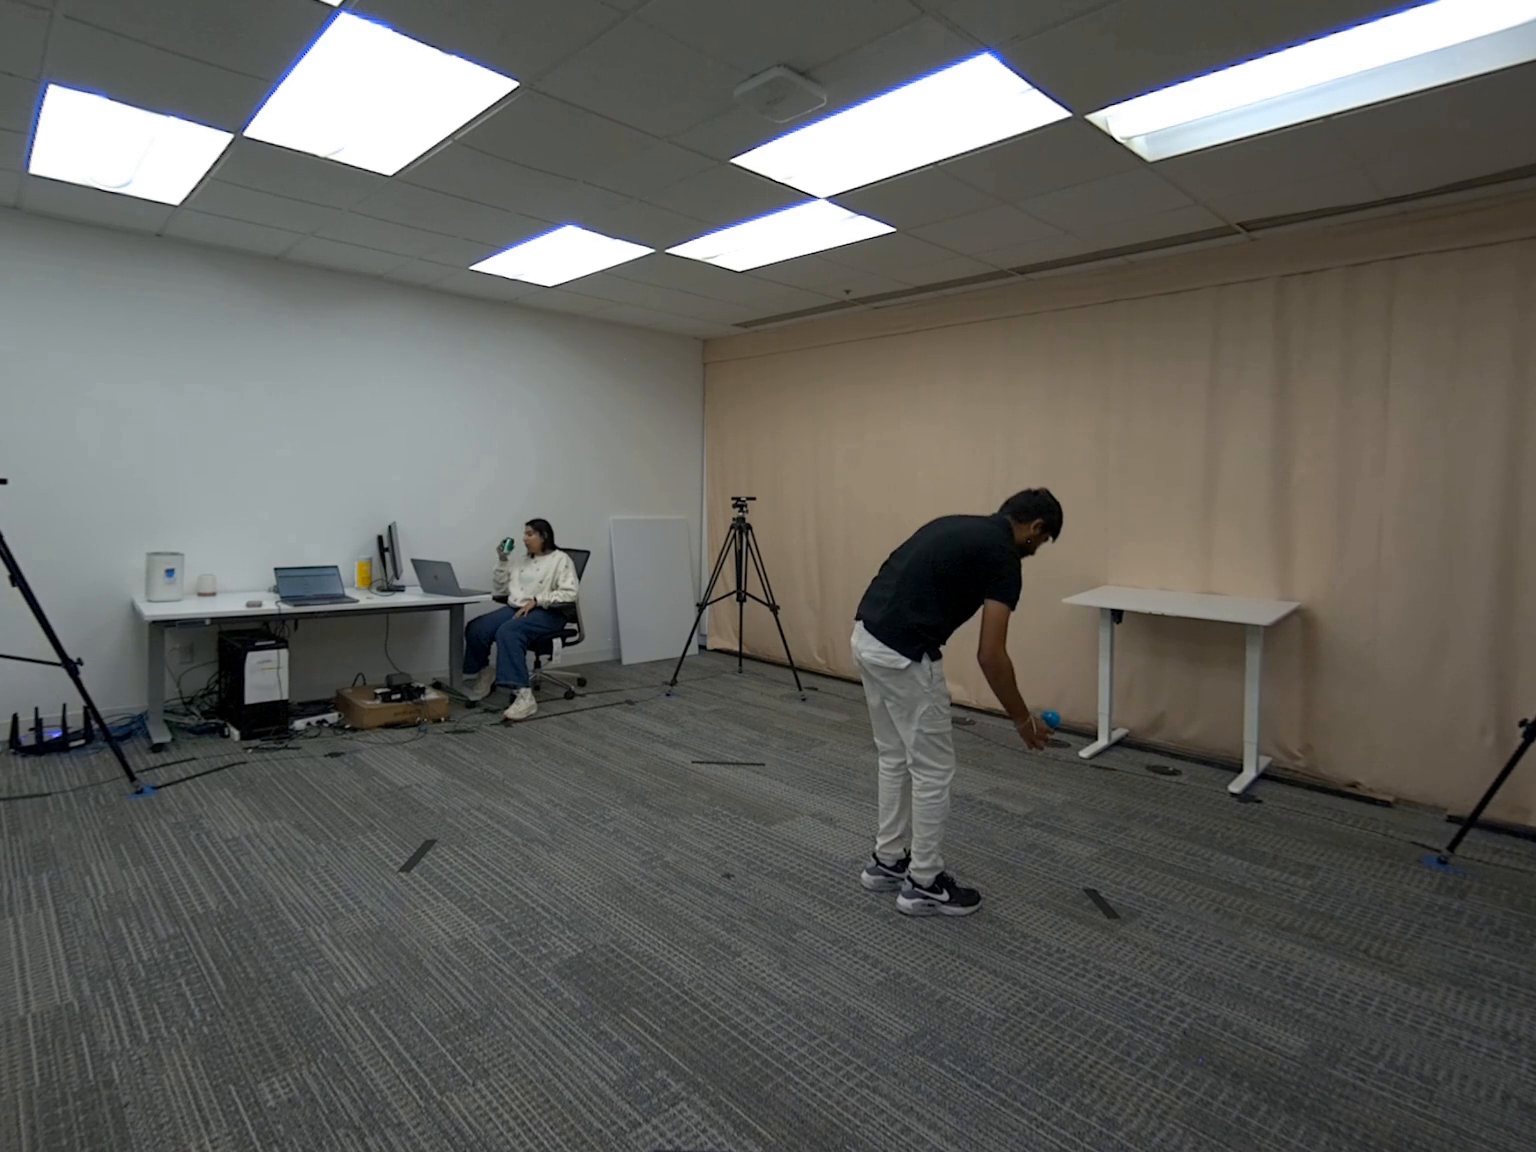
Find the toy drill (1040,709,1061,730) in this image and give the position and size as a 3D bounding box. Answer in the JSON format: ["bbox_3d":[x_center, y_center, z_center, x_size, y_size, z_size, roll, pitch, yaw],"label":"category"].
[{"bbox_3d":[0.946,0.534,2.896,0.062,0.146,0.168,40,4,8],"label":"toy drill"}]
